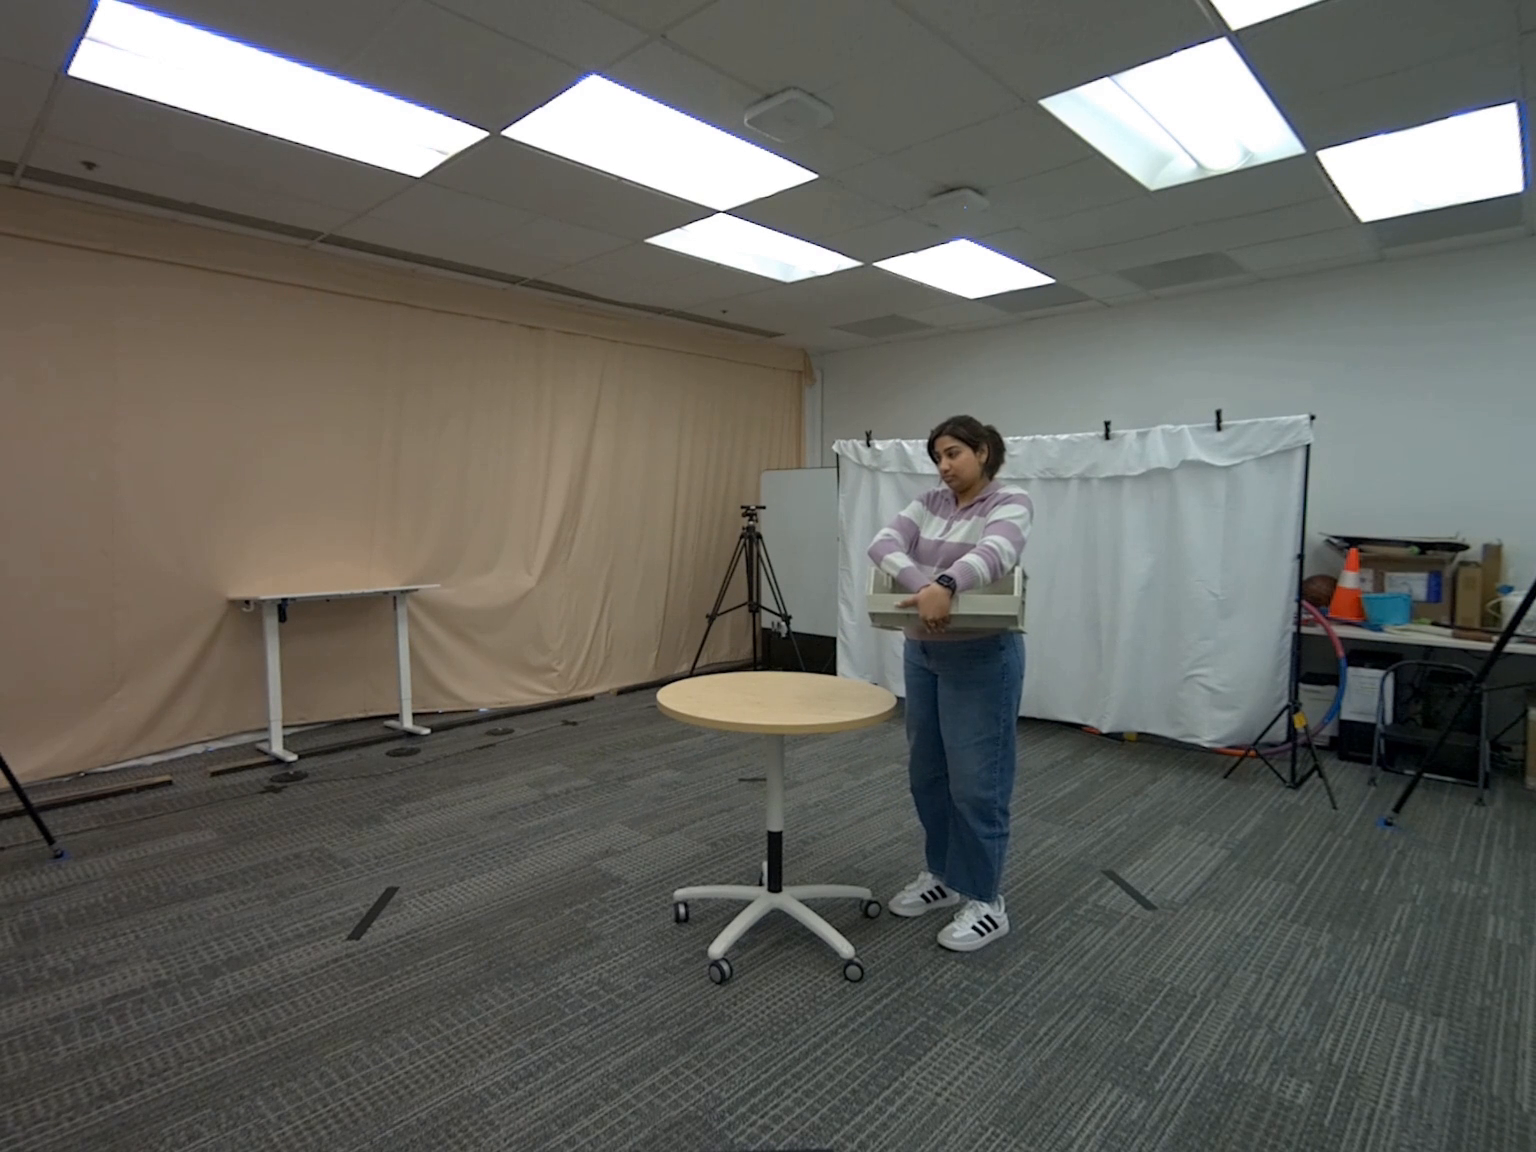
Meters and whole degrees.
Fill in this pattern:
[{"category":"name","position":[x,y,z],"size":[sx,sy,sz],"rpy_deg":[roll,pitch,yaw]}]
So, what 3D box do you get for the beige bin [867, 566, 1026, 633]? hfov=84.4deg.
[{"category":"beige bin","position":[0.537,0.073,2.472],"size":[0.432,0.190,0.367],"rpy_deg":[2,-6,21]}]
